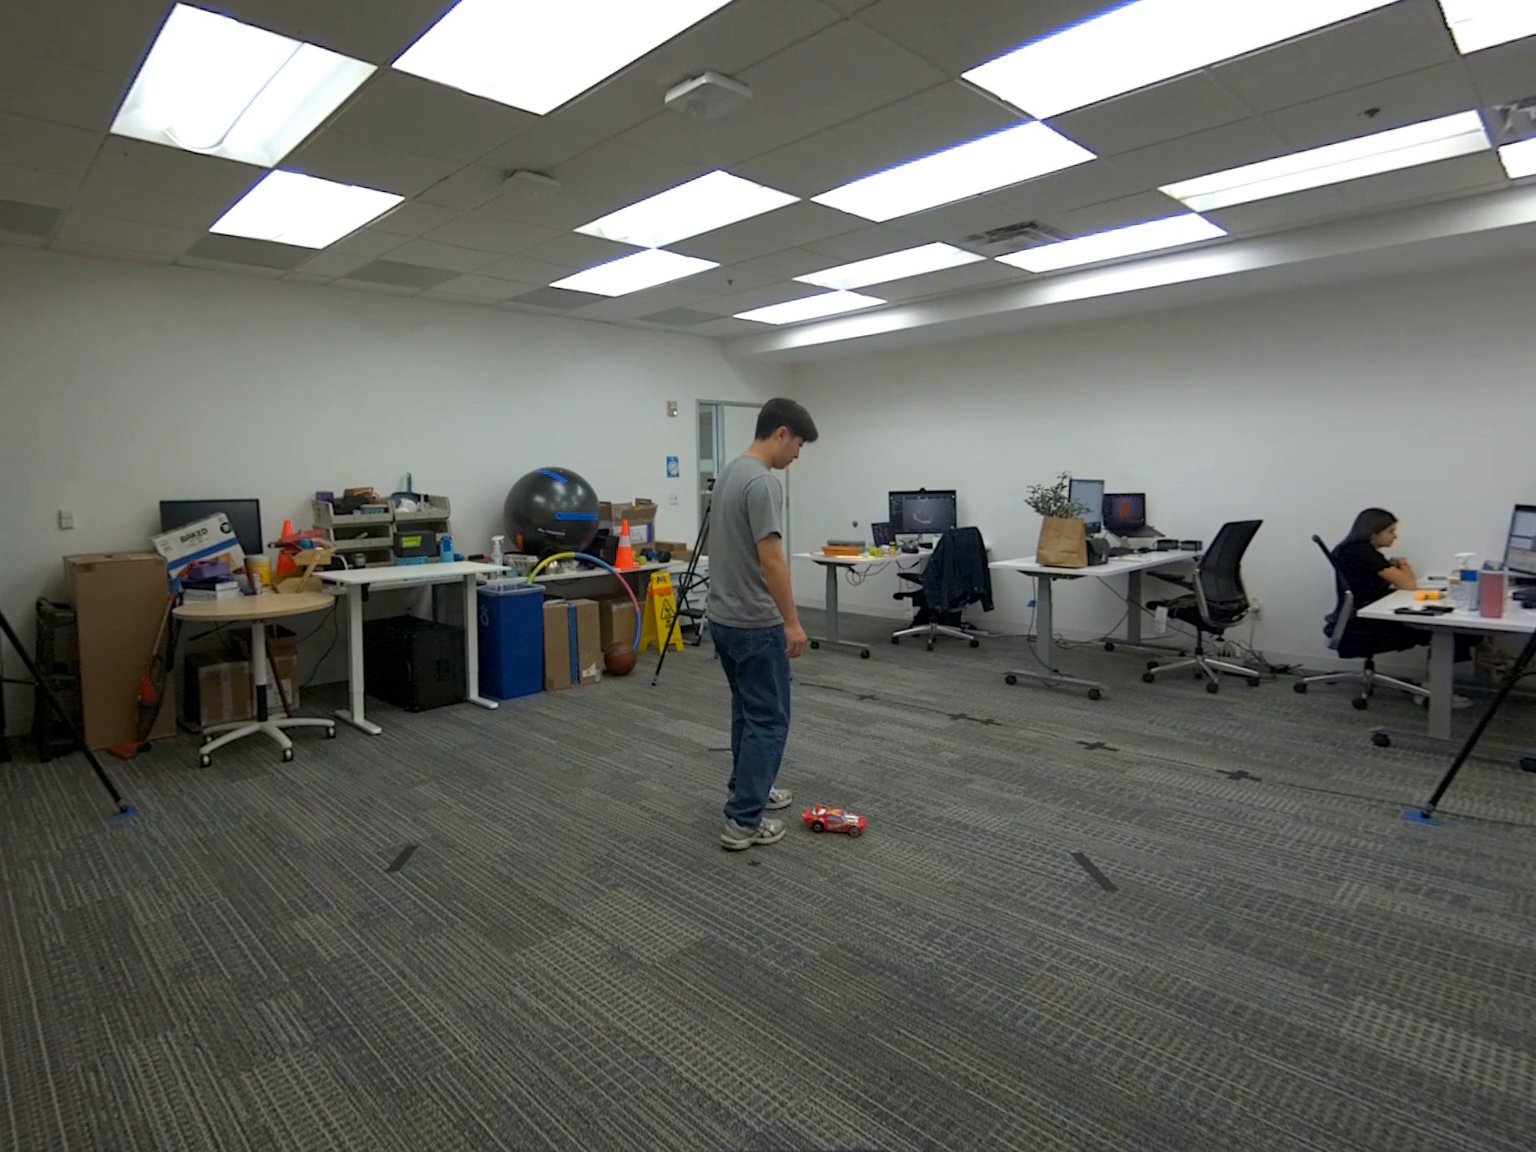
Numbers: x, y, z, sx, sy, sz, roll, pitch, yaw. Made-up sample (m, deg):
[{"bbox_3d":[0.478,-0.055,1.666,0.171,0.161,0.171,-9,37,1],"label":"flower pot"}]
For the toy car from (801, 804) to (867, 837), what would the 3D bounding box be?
[{"bbox_3d":[0.264,0.974,3.400,0.259,0.083,0.128,13,9,16],"label":"toy car"}]
